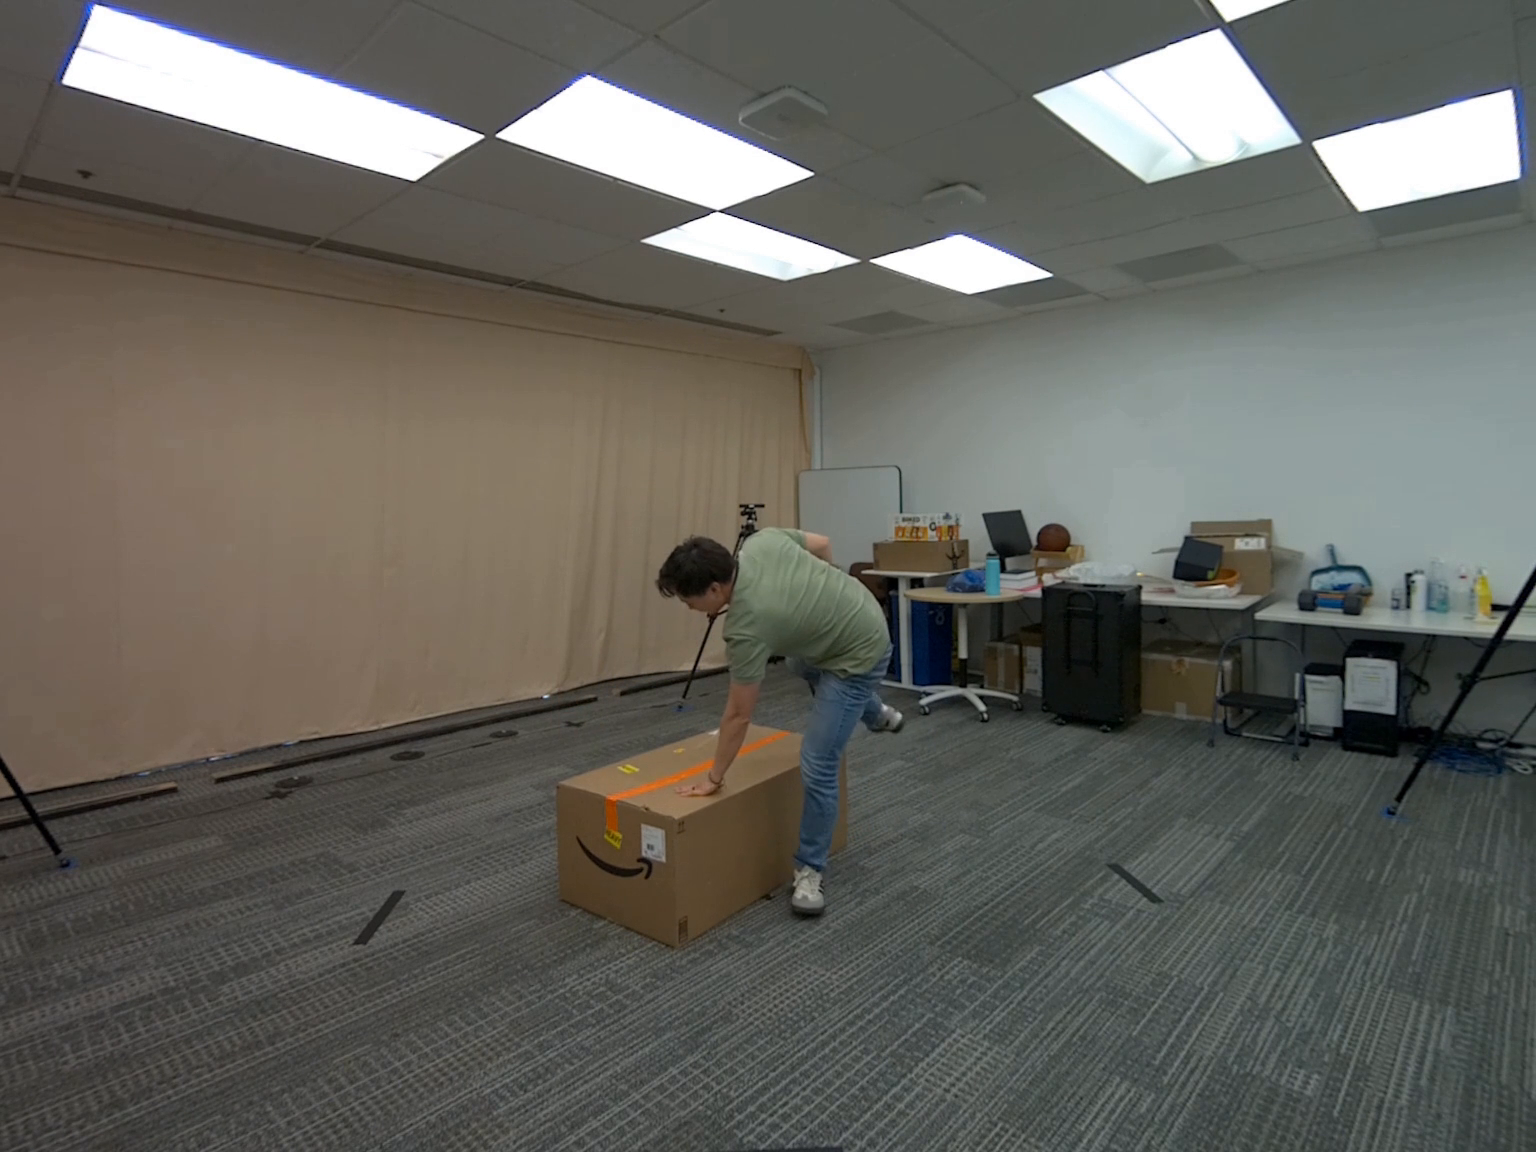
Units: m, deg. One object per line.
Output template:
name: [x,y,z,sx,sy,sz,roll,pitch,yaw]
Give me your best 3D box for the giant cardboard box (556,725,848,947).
giant cardboard box: [-0.214,0.914,3.196,0.596,0.425,0.996,2,5,38]
